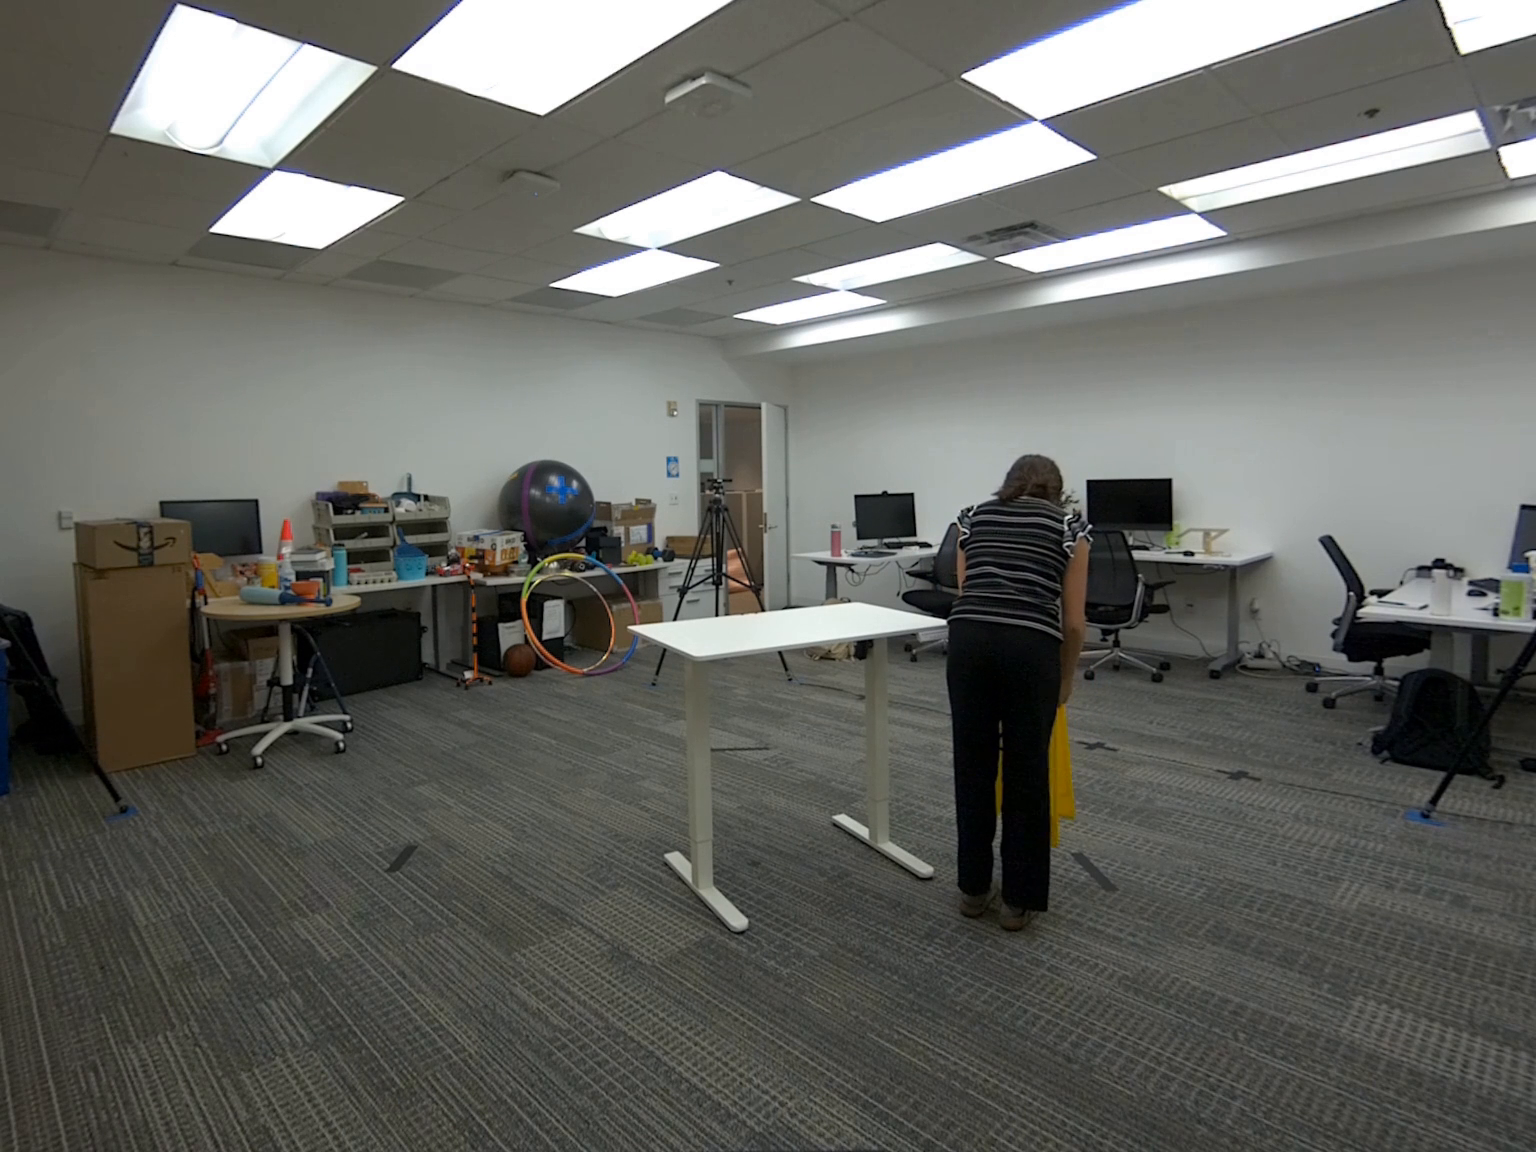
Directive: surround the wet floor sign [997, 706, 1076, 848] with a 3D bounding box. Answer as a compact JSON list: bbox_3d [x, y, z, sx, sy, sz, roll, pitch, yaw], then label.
[{"bbox_3d":[0.902,0.550,2.954,0.290,0.642,0.283,2,8,33],"label":"wet floor sign"}]
